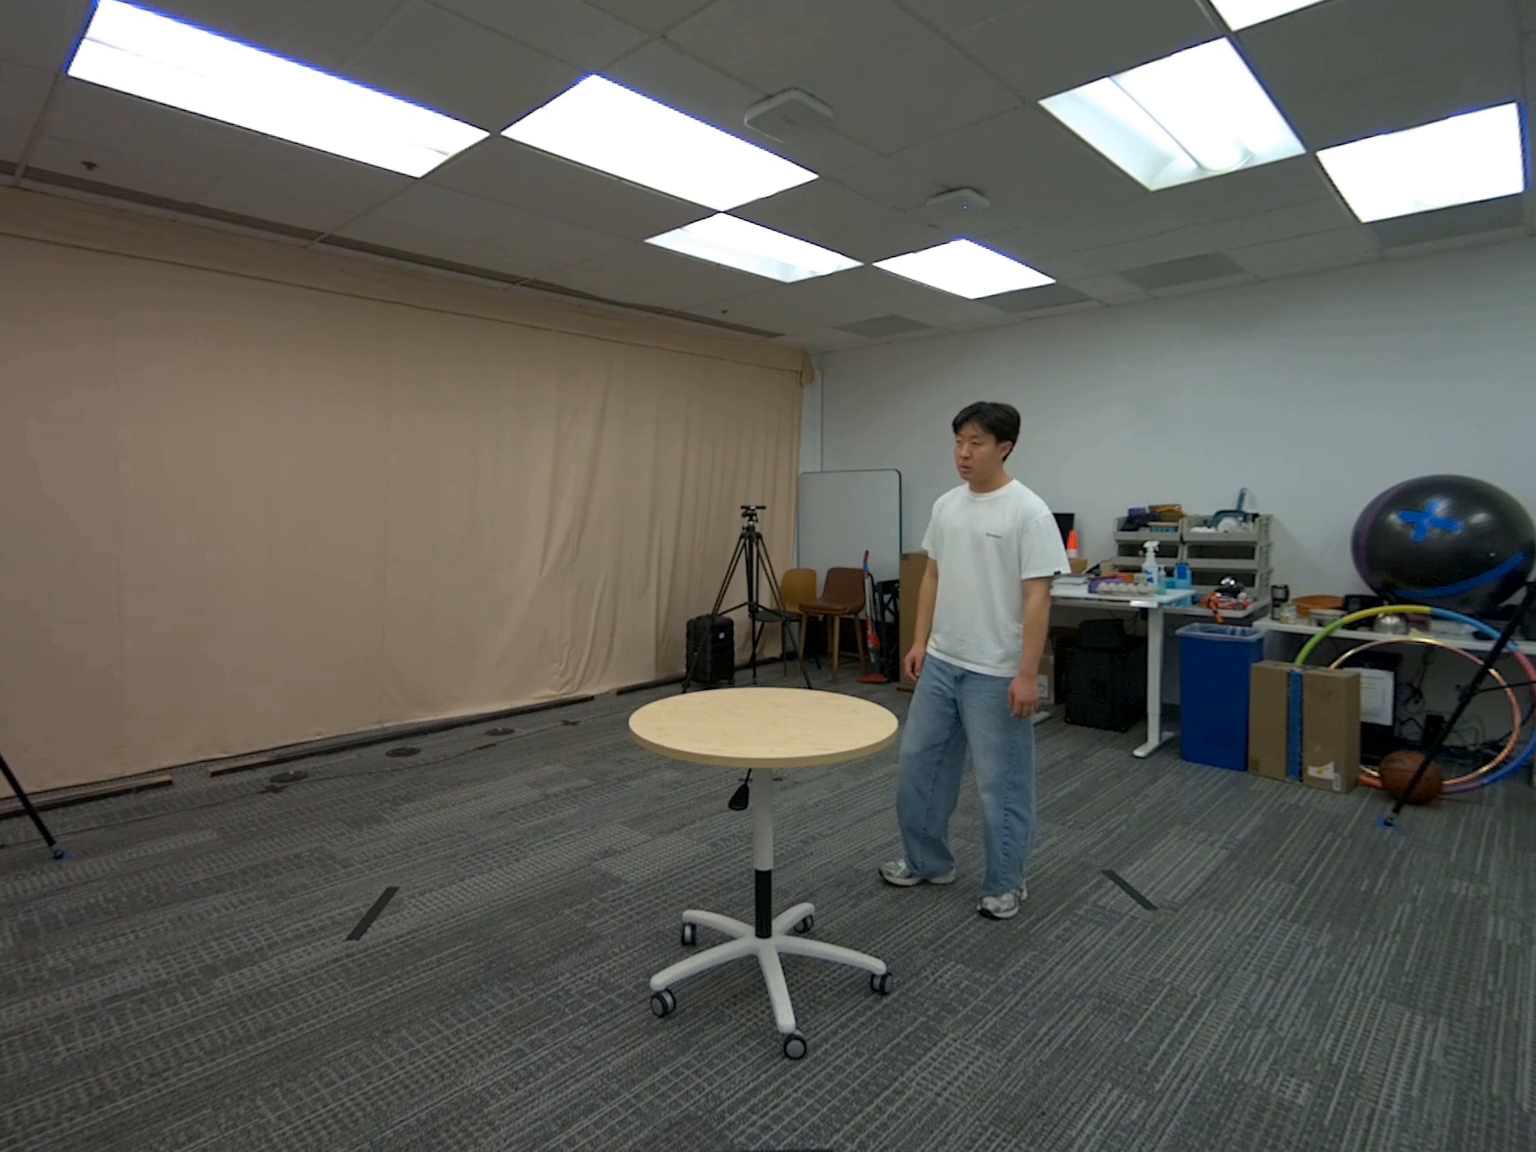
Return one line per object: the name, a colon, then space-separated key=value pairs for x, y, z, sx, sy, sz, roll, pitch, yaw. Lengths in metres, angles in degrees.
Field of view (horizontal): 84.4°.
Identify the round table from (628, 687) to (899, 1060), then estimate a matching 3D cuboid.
round table: x=-0.025 y=0.797 z=2.440 sx=0.784 sy=0.784 sz=0.788 roll=0 pitch=4 yaw=-2
